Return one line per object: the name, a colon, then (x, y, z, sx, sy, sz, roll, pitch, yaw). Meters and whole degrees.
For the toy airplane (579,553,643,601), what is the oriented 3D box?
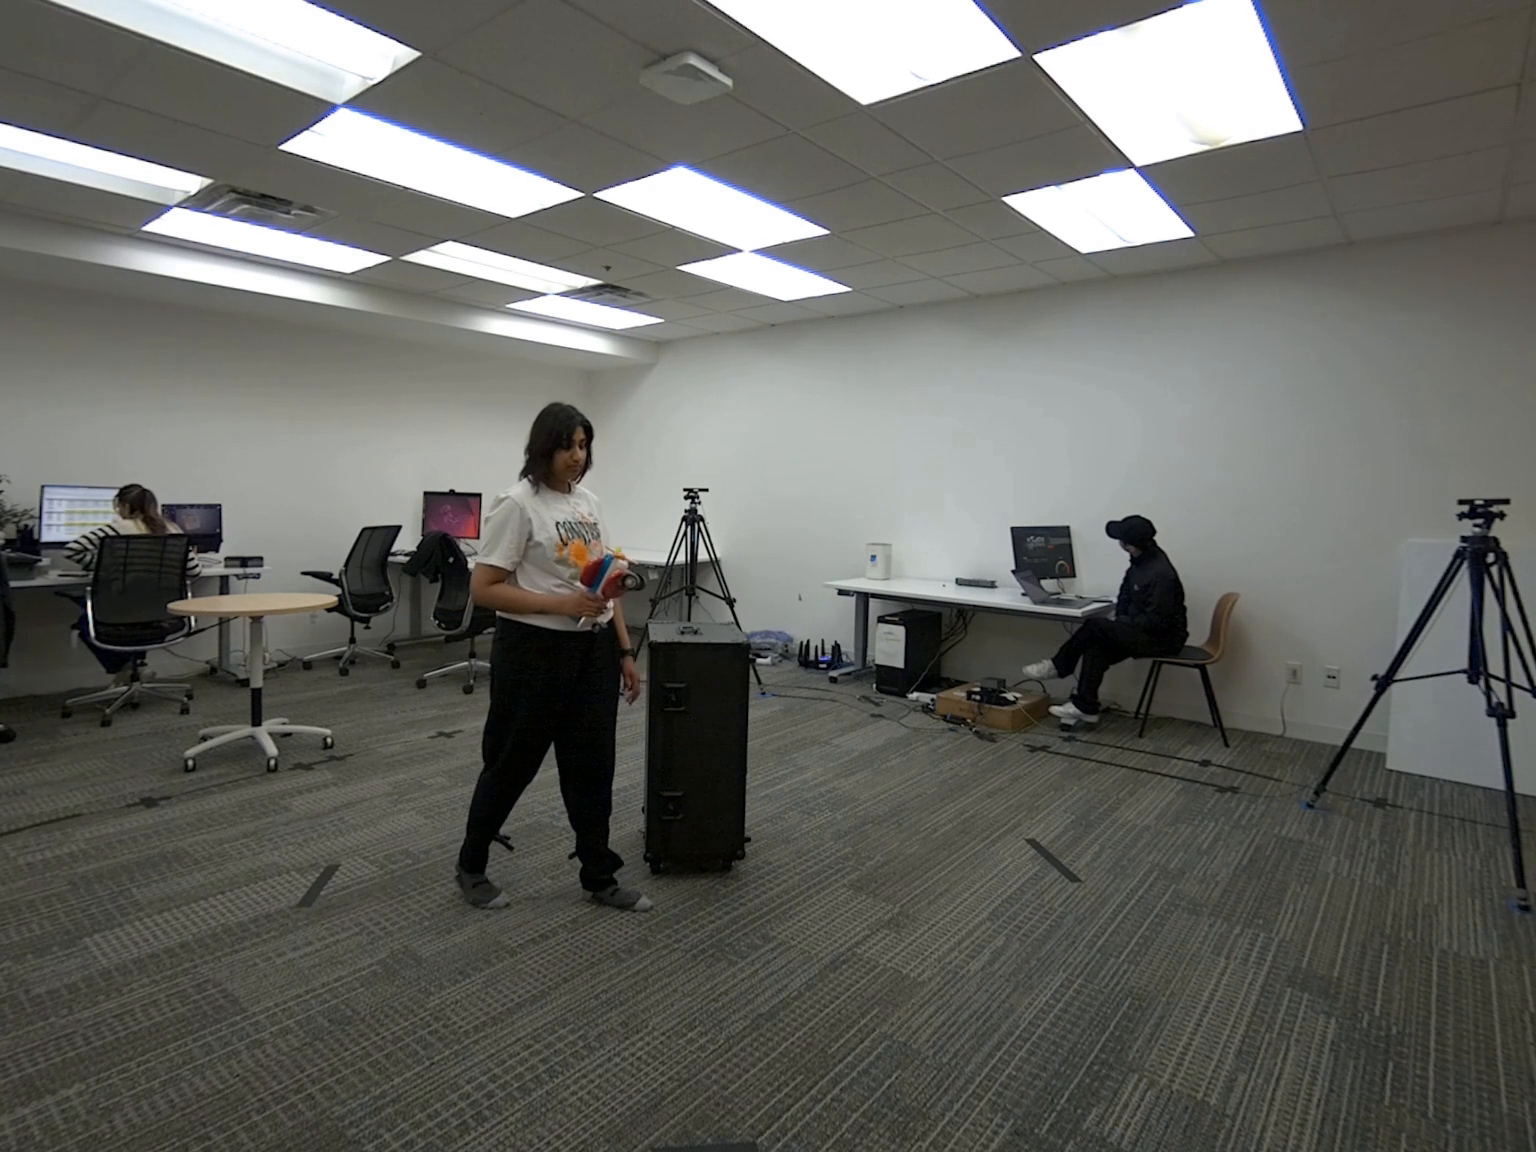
toy airplane: (-0.518, 0.046, 2.610, 0.158, 0.259, 0.249, 41, -25, 6)
